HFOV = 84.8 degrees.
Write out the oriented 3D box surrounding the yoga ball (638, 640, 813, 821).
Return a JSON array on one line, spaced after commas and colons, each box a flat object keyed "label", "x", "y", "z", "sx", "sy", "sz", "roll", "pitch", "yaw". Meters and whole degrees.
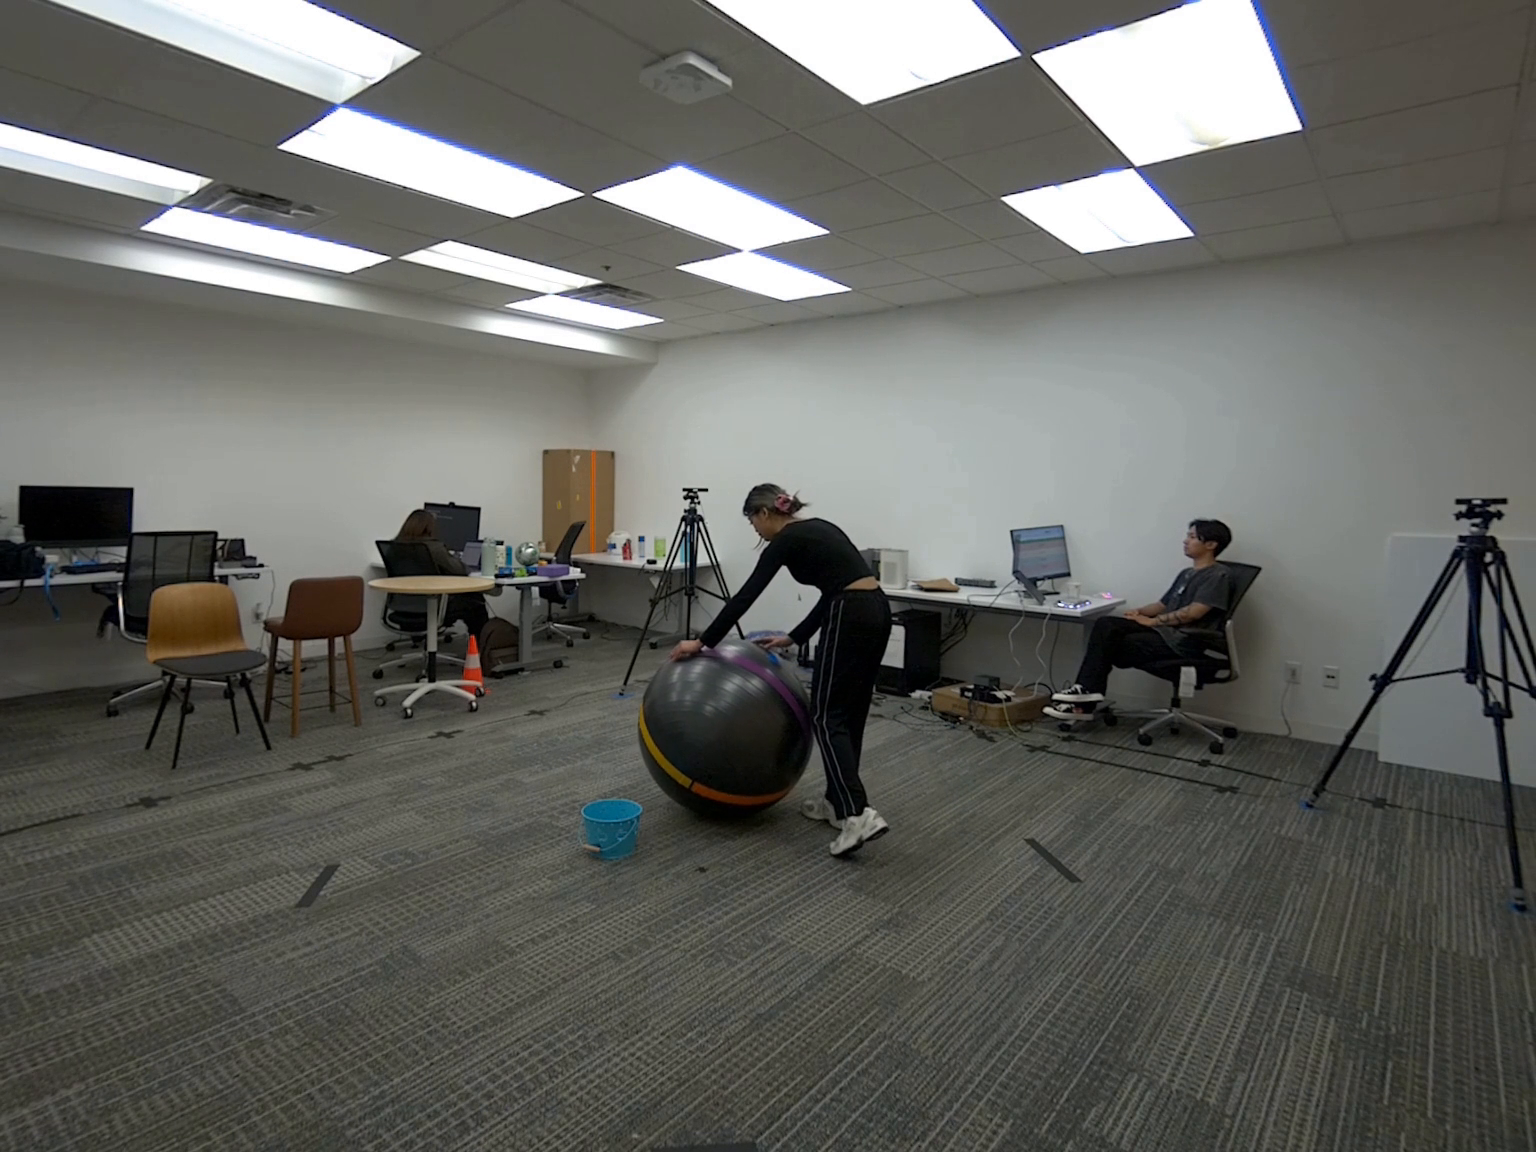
[{"label": "yoga ball", "x": -0.195, "y": 0.651, "z": 3.676, "sx": 0.757, "sy": 0.755, "sz": 0.762, "roll": 1, "pitch": 4, "yaw": -2}]
